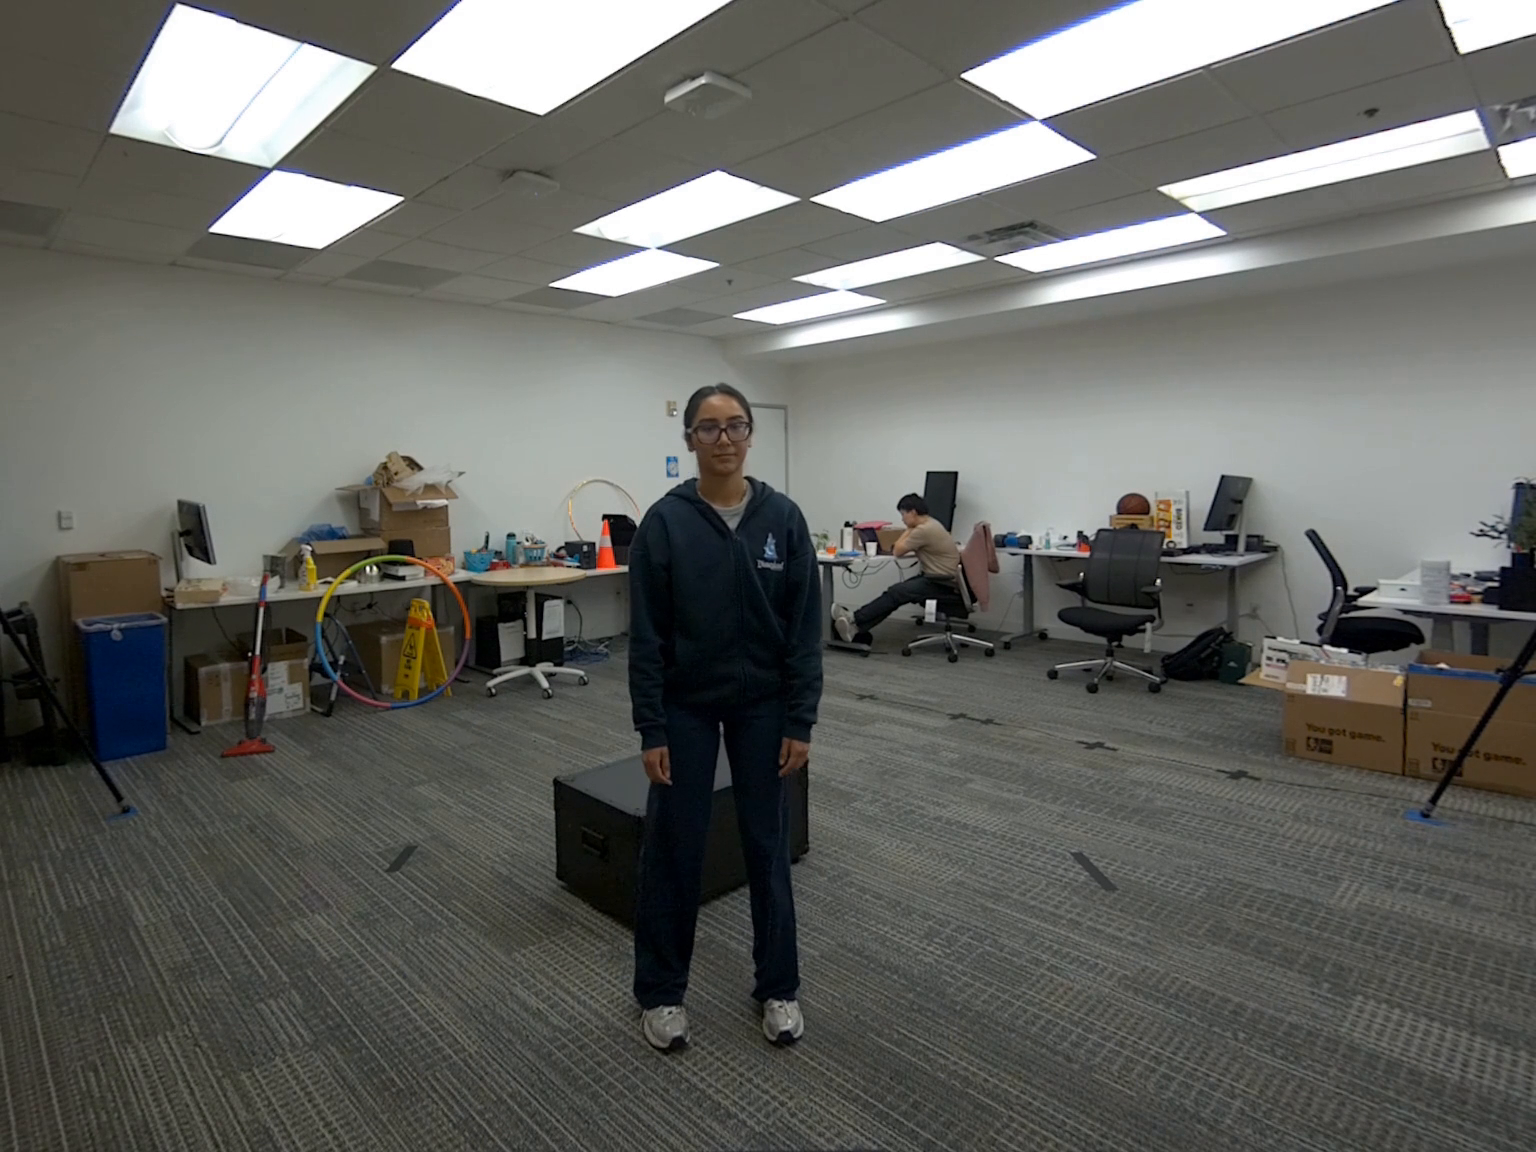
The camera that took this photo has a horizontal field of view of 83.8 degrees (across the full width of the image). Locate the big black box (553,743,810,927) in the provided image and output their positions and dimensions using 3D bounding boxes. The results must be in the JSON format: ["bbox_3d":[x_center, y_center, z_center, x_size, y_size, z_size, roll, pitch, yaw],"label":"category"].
[{"bbox_3d":[-0.270,0.862,3.056,0.537,0.394,0.839,5,9,45],"label":"big black box"}]
